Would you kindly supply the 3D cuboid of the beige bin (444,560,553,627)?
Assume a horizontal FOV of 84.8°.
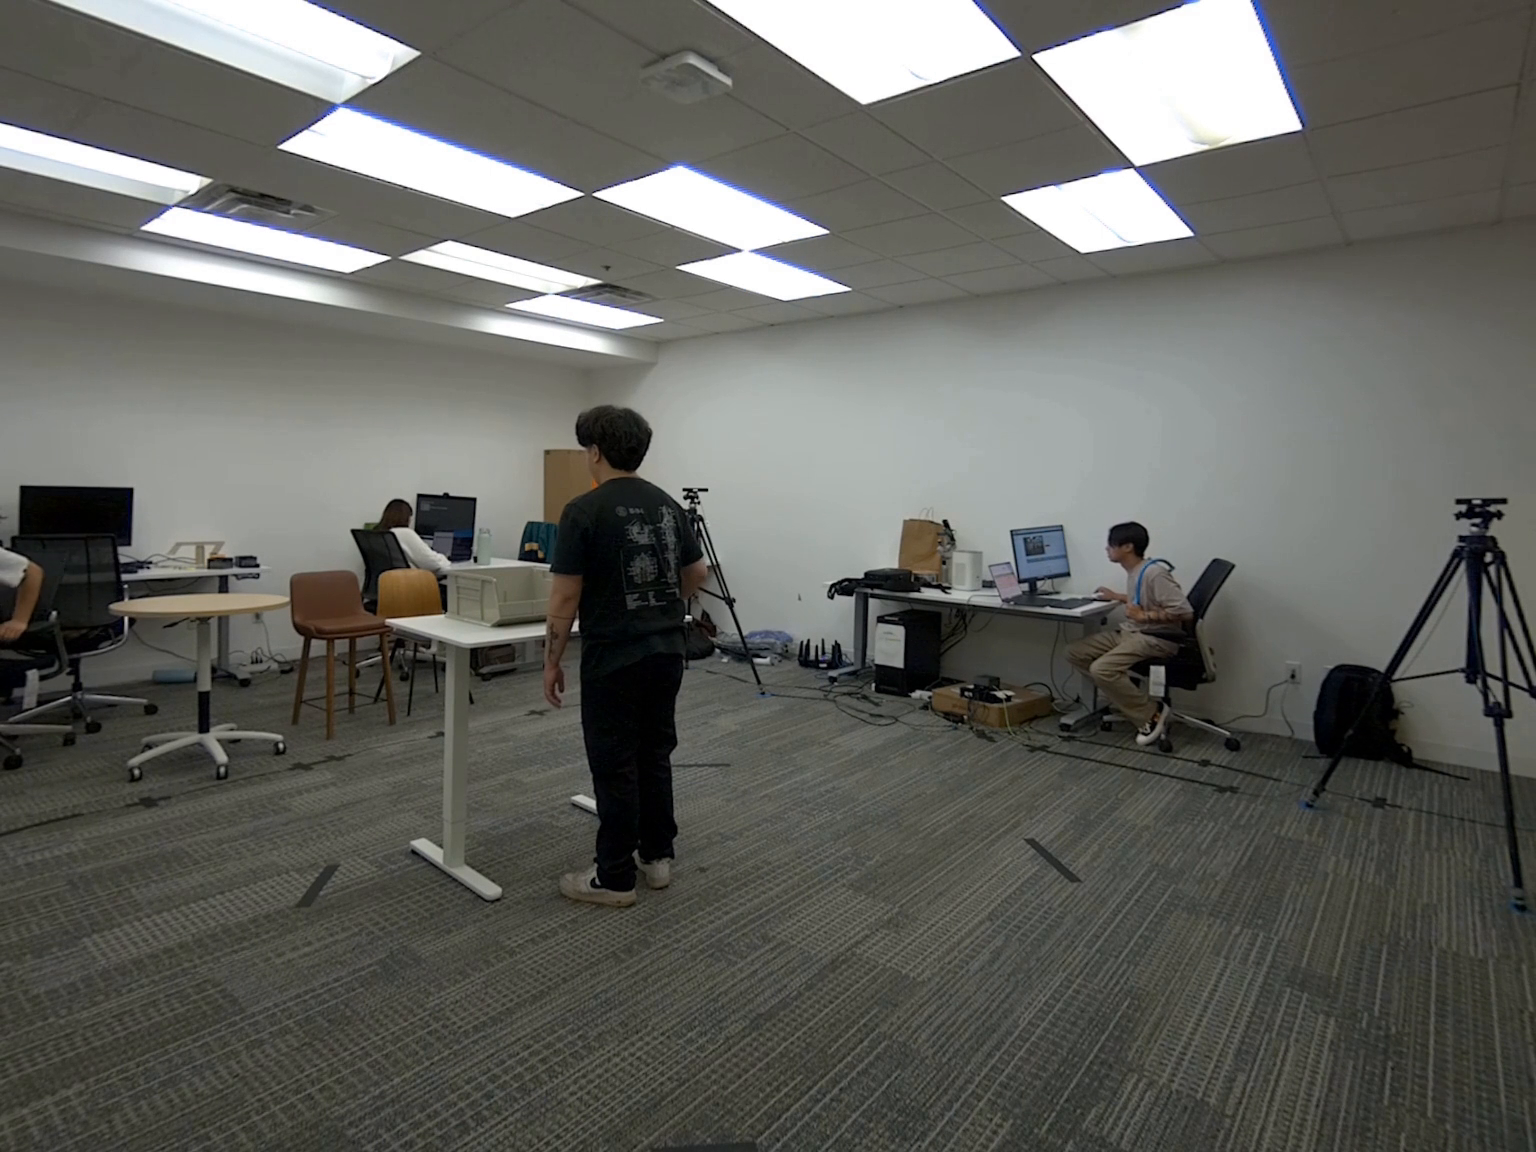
[{"bbox_3d":[-0.972,0.073,3.259,0.390,0.188,0.410,5,6,40],"label":"beige bin"}]
